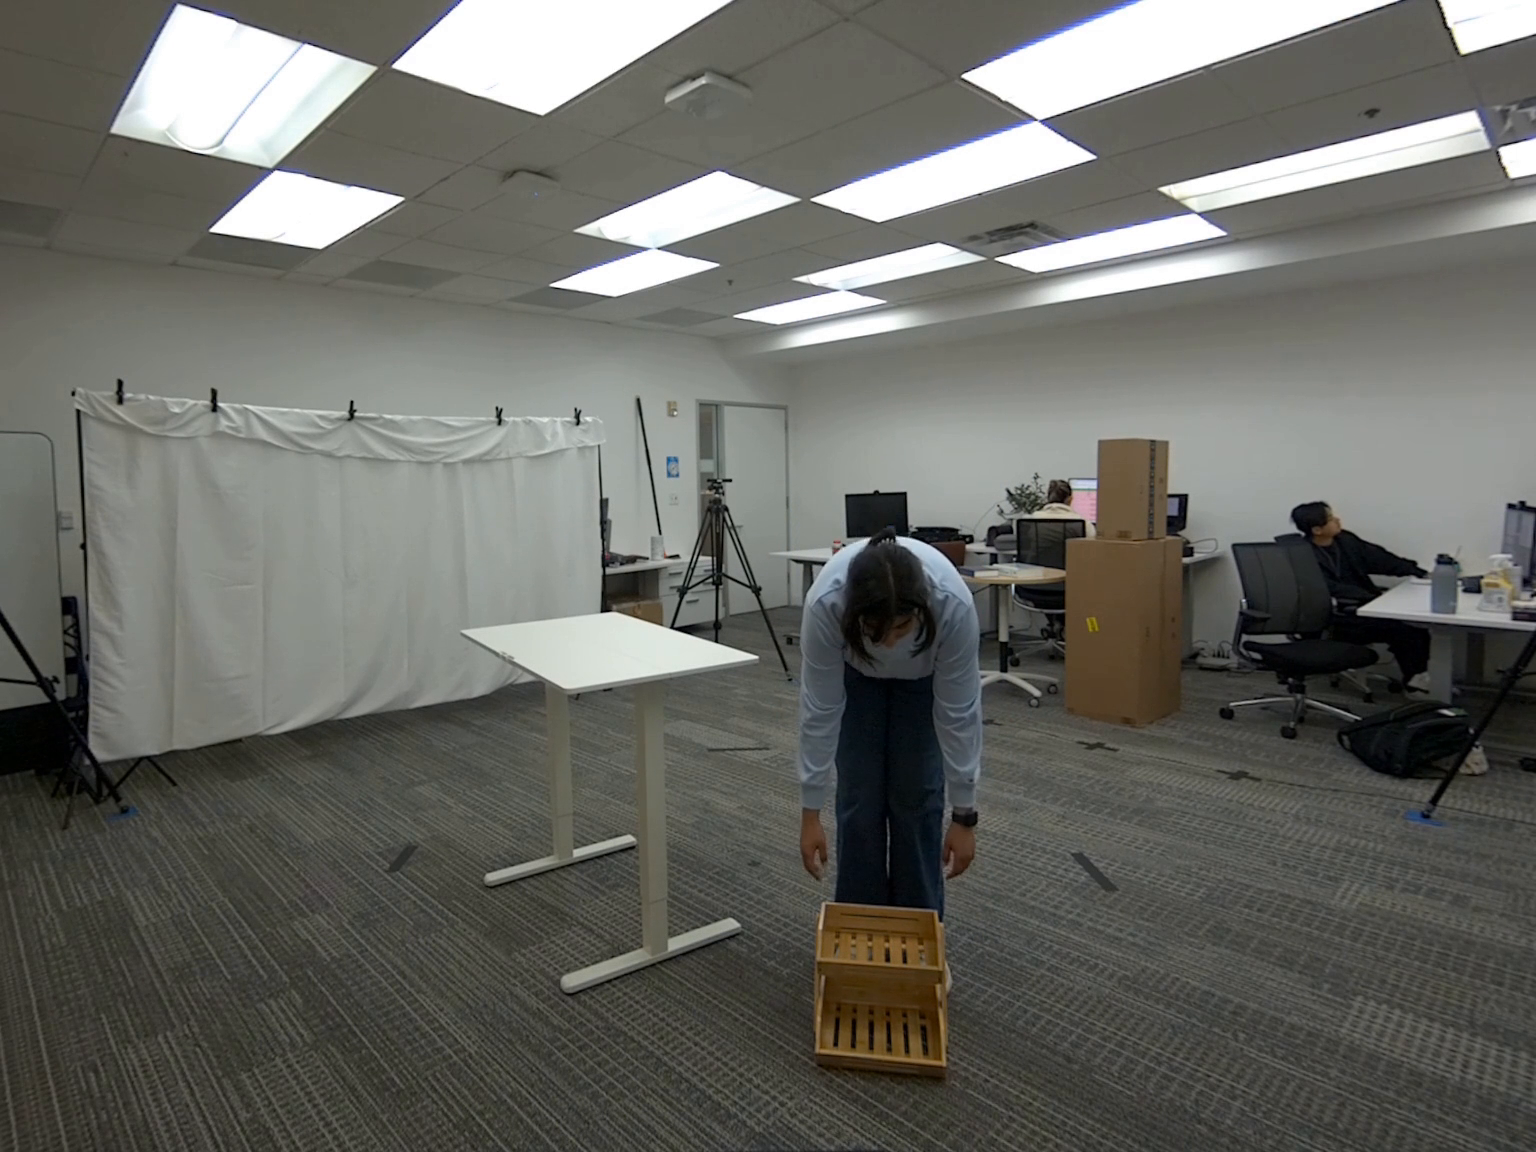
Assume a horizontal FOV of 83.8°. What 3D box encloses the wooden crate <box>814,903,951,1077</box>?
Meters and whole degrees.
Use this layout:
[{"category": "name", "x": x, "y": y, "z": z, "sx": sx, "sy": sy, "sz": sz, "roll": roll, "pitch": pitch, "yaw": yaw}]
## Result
[{"category": "wooden crate", "x": 0.288, "y": 1.027, "z": 2.118, "sx": 0.327, "sy": 0.273, "sz": 0.300, "roll": 0, "pitch": 3, "yaw": 9}]
